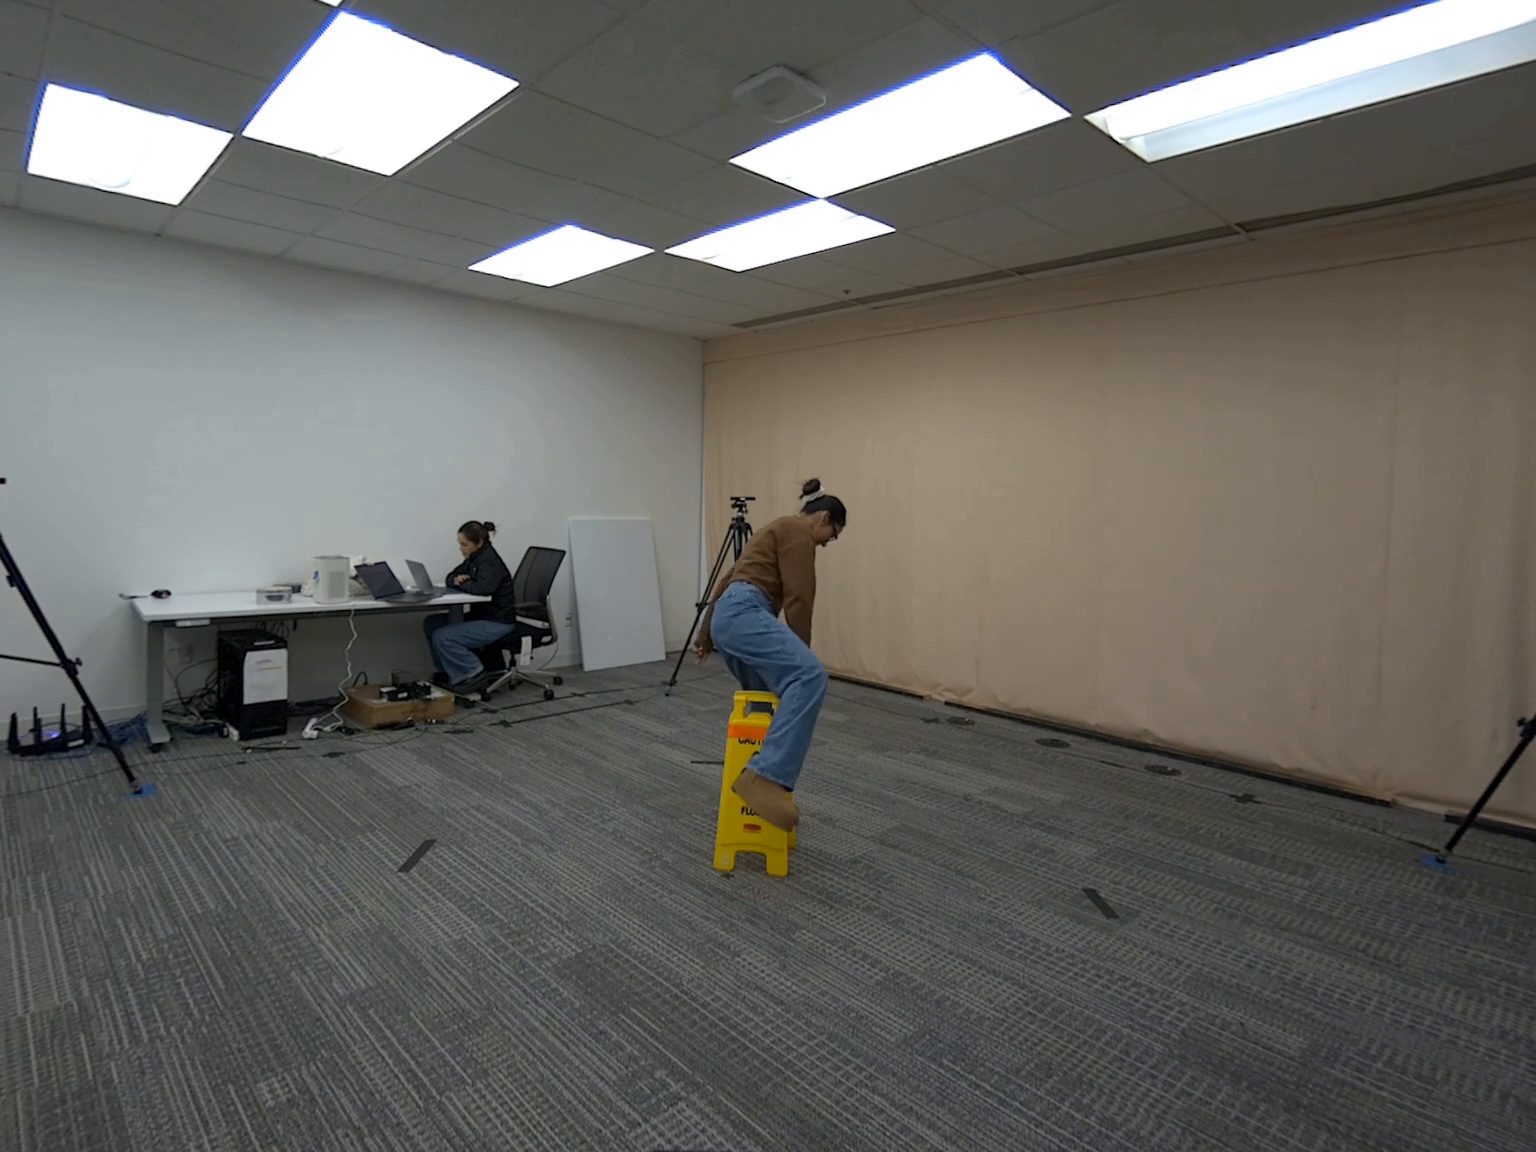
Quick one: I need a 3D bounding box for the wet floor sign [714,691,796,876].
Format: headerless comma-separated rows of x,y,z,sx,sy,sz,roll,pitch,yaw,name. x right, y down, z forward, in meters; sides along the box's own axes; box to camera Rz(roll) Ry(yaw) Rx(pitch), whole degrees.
-0.053,0.780,3.258,0.285,0.645,0.287,2,3,10,wet floor sign
